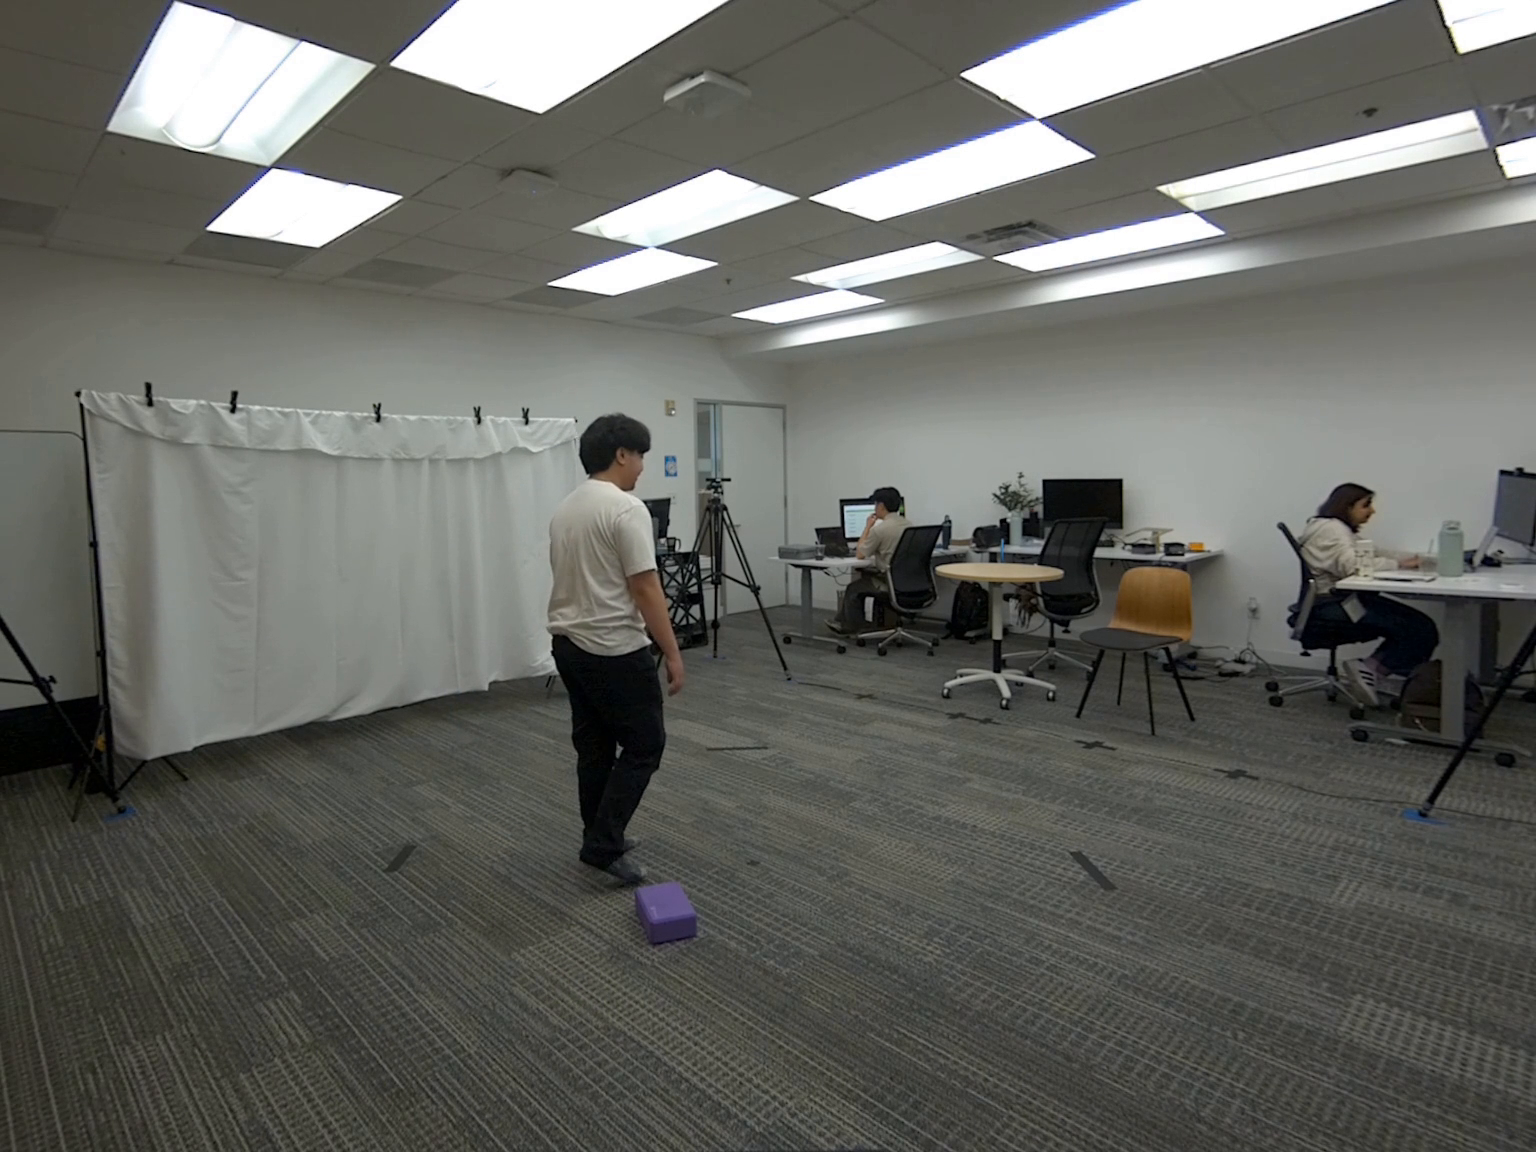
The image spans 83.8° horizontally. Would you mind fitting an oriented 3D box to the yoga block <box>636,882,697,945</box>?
[{"bbox_3d":[-0.319,1.056,2.691,0.146,0.076,0.234,-3,7,-20],"label":"yoga block"}]
